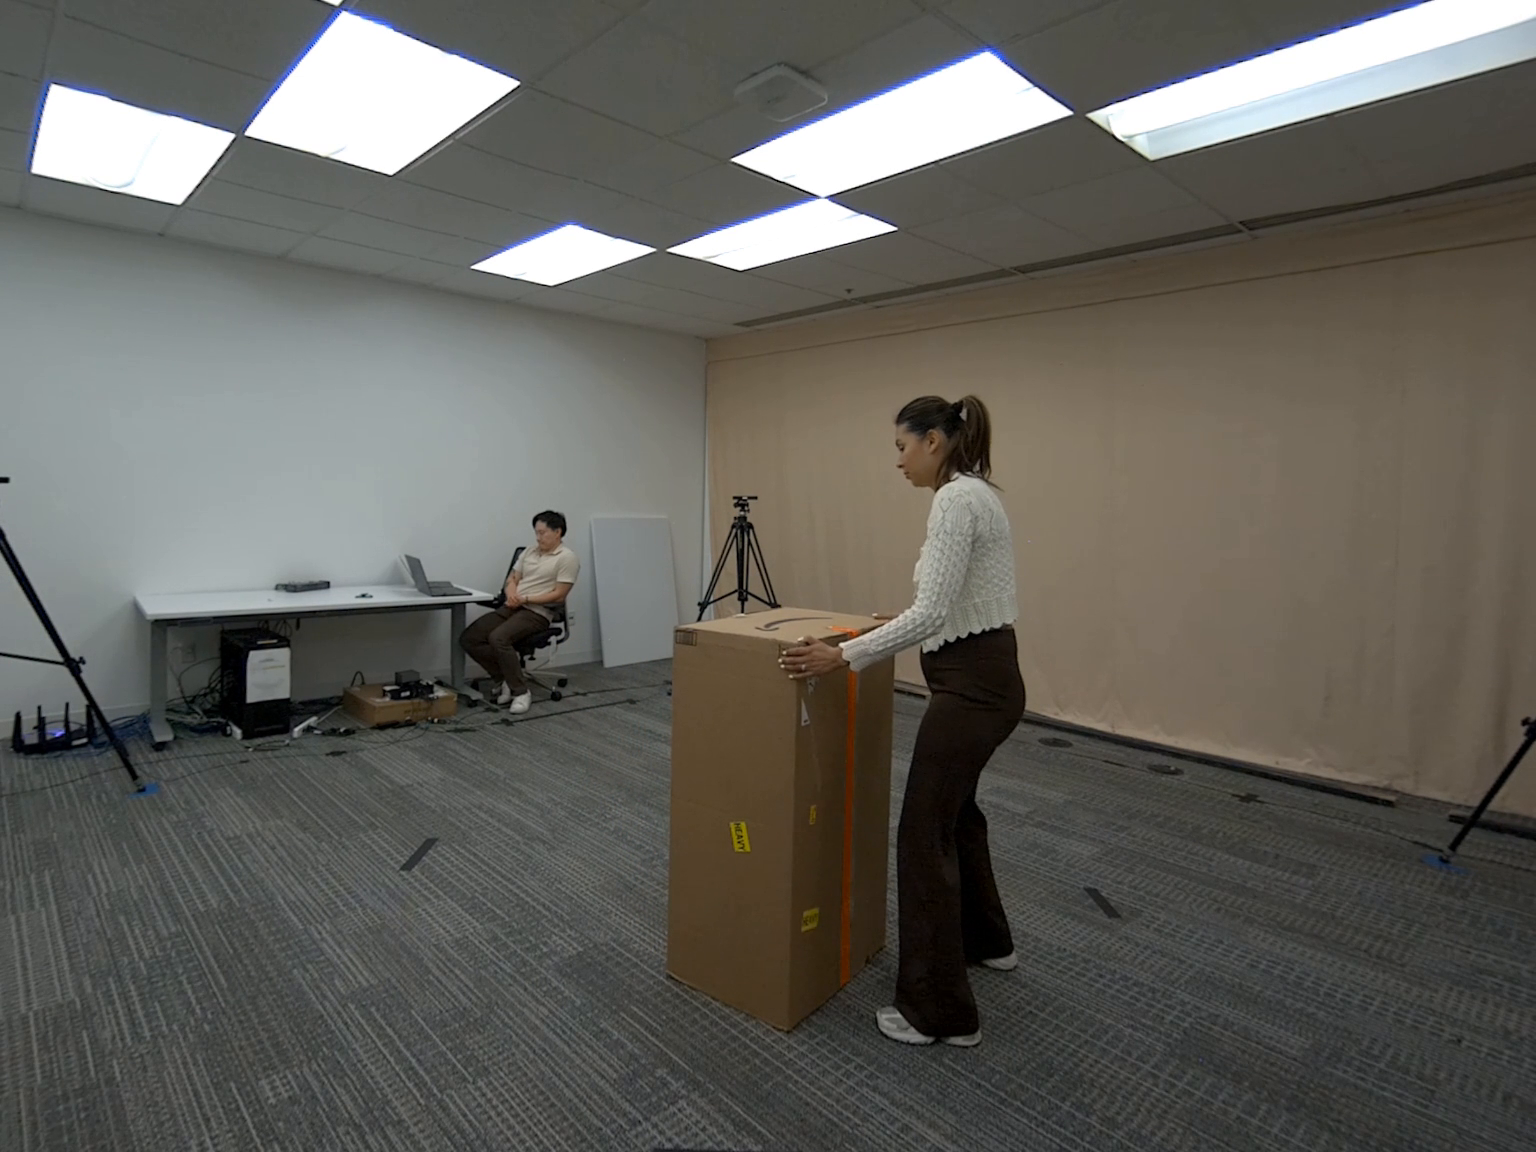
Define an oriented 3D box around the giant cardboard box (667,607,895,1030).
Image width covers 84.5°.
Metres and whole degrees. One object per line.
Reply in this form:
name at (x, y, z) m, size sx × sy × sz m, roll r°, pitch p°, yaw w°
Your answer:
giant cardboard box at (0.046, 0.653, 2.517) m, size 0.436 × 1.023 × 0.565 m, roll 4°, pitch 4°, yaw 36°
